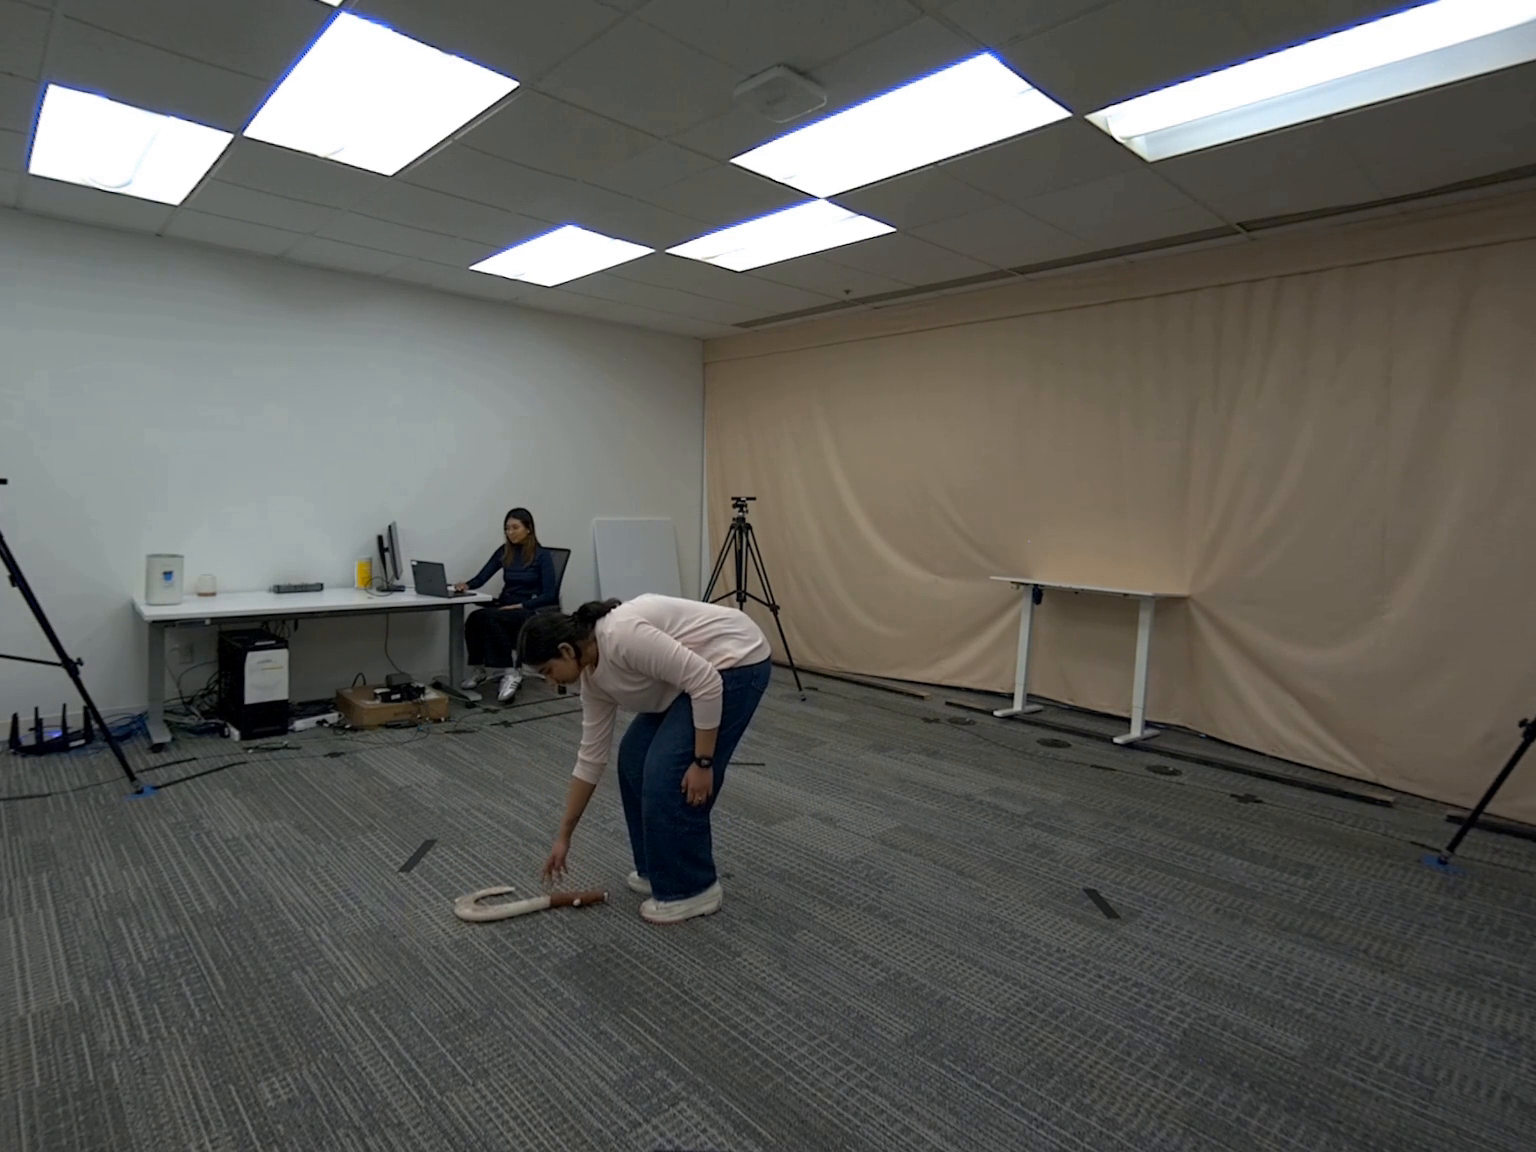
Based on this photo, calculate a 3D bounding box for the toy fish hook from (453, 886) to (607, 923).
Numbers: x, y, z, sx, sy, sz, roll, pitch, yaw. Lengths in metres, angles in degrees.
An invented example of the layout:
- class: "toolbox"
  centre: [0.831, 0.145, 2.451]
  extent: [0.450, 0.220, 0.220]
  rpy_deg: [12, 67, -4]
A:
- class: "toy fish hook"
  centre: [-0.803, 1.088, 2.864]
  extent: [0.500, 0.048, 0.228]
  rpy_deg: [0, 6, -16]
